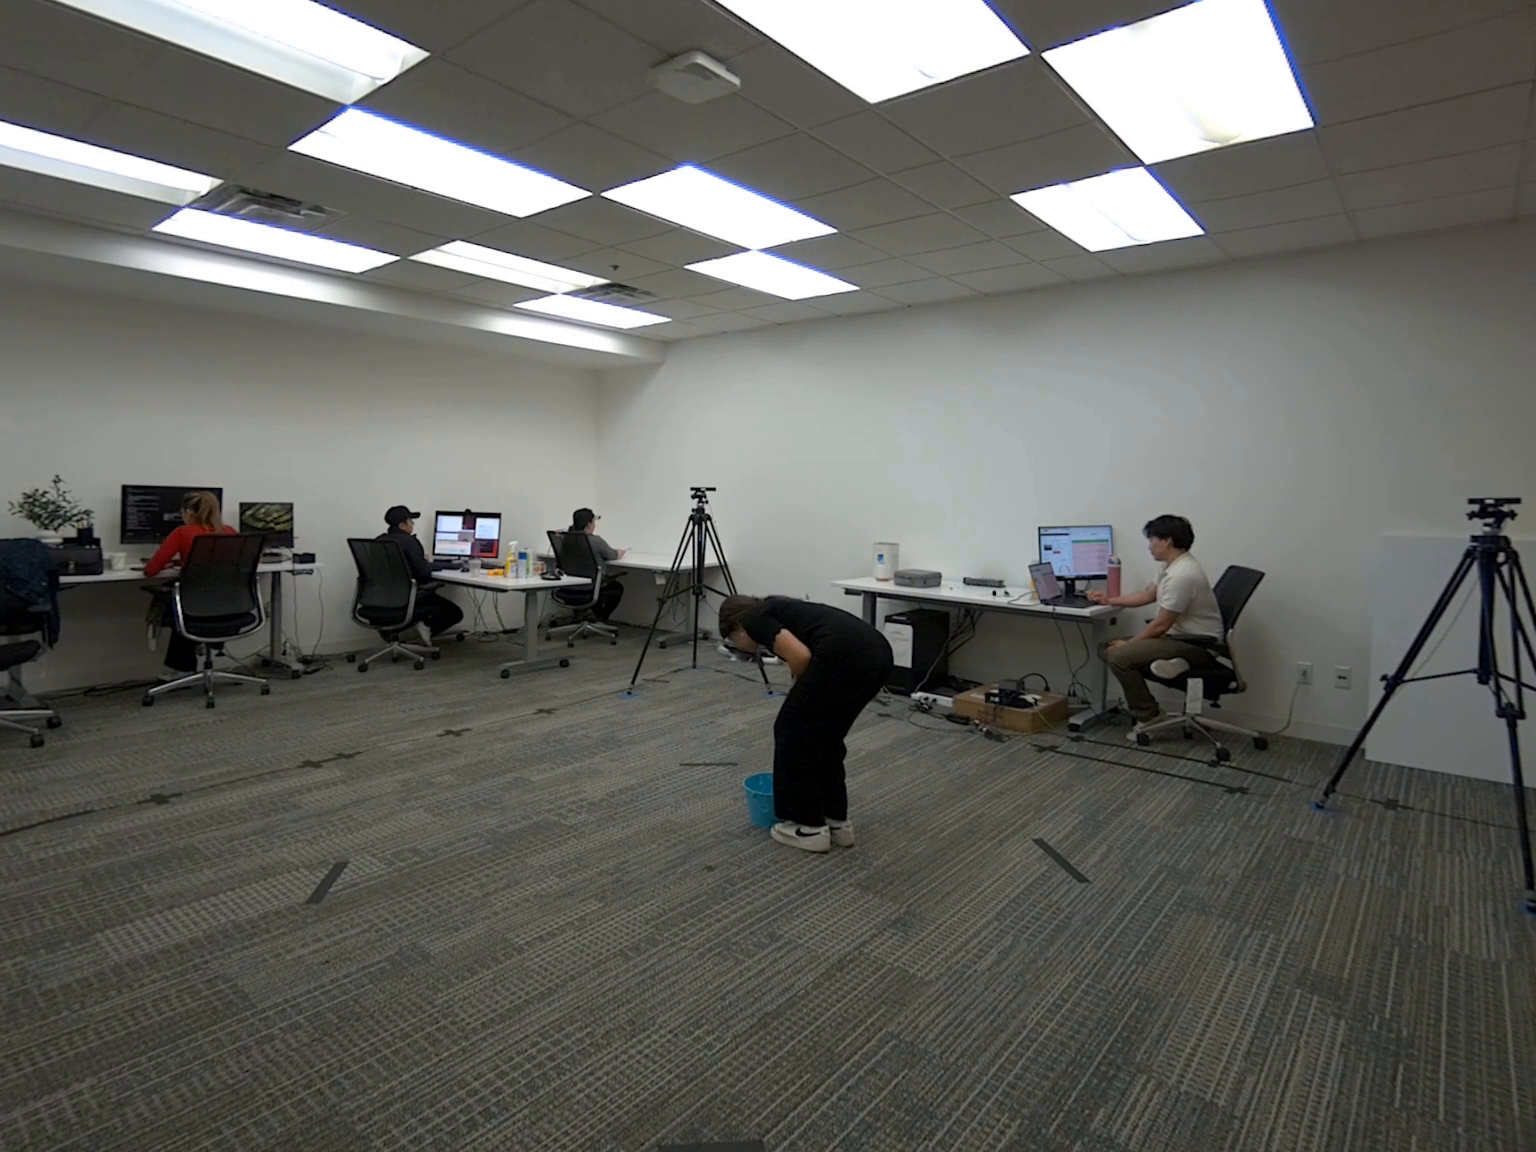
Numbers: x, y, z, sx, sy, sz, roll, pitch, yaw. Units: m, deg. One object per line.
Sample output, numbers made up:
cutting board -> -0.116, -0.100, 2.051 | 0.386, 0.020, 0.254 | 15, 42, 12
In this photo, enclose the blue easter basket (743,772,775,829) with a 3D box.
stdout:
blue easter basket -> 0.006, 0.929, 3.573 | 0.243, 0.155, 0.246 | 0, 8, -2
